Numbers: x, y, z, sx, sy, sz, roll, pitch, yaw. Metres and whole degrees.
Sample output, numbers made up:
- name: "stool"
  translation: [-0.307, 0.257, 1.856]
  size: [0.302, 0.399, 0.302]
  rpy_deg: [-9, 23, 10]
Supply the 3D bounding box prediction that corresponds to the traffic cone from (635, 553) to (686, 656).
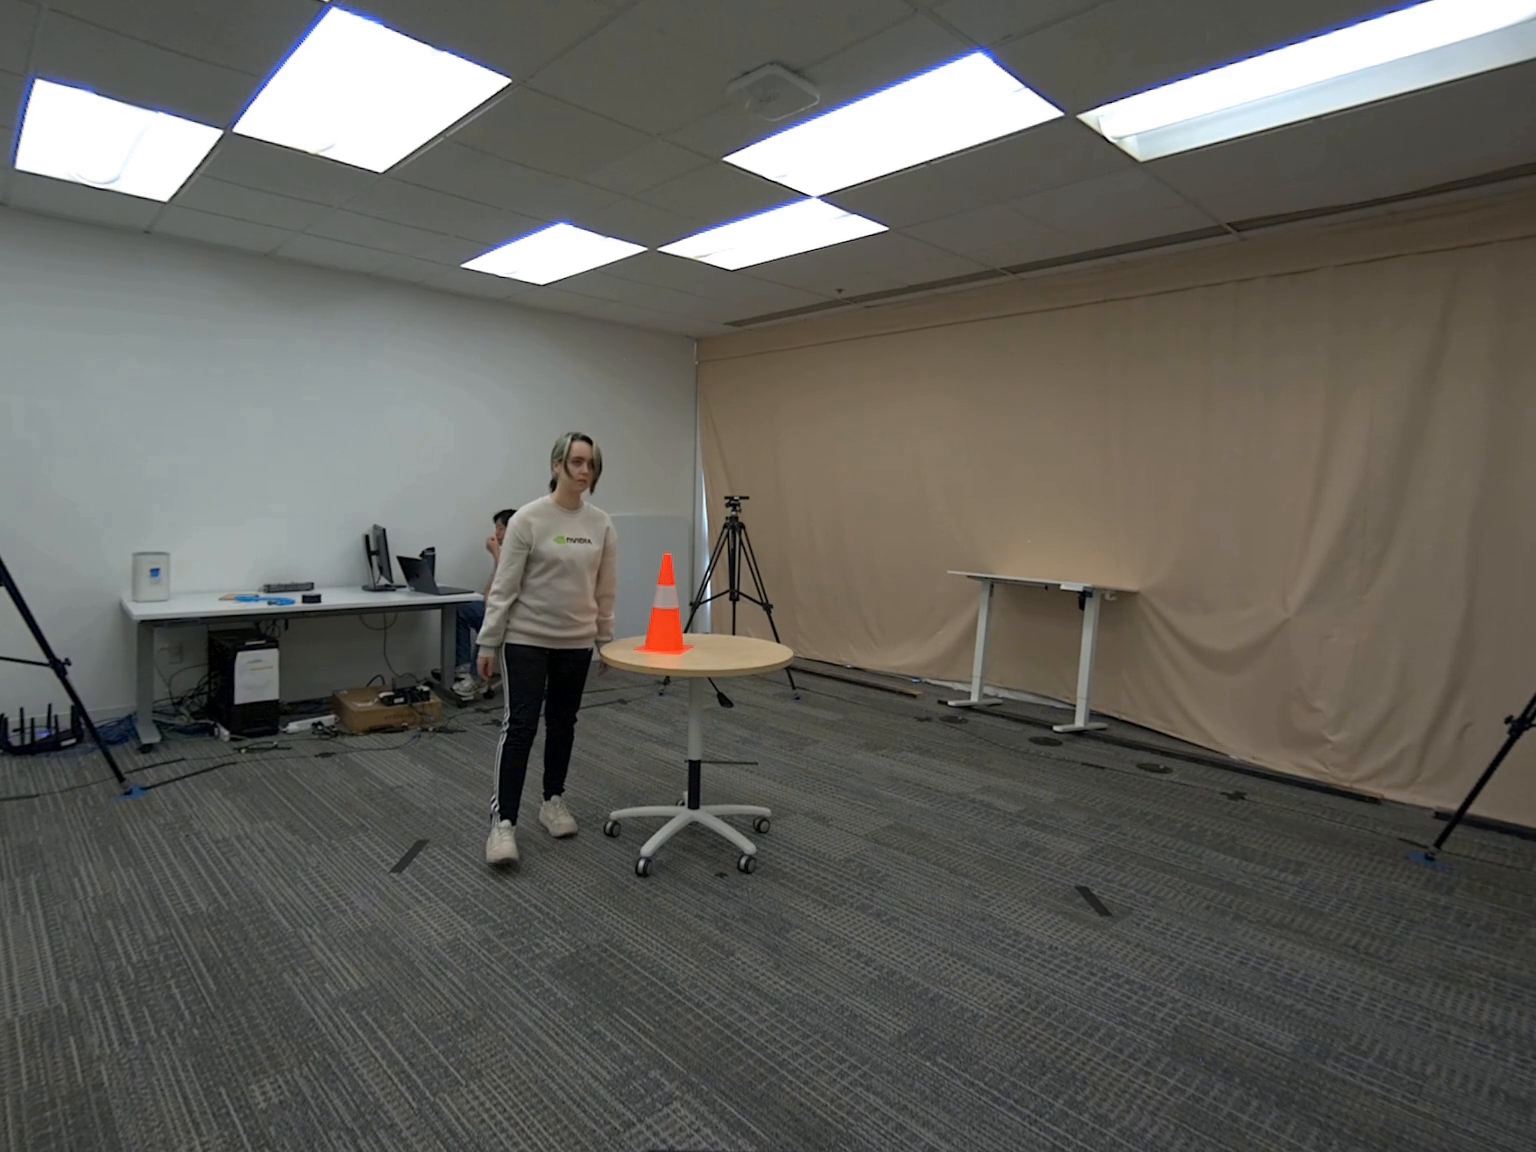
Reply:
- name: "traffic cone"
  translation: [-0.420, 0.099, 3.348]
  size: [0.207, 0.382, 0.202]
  rpy_deg: [5, 5, 20]
